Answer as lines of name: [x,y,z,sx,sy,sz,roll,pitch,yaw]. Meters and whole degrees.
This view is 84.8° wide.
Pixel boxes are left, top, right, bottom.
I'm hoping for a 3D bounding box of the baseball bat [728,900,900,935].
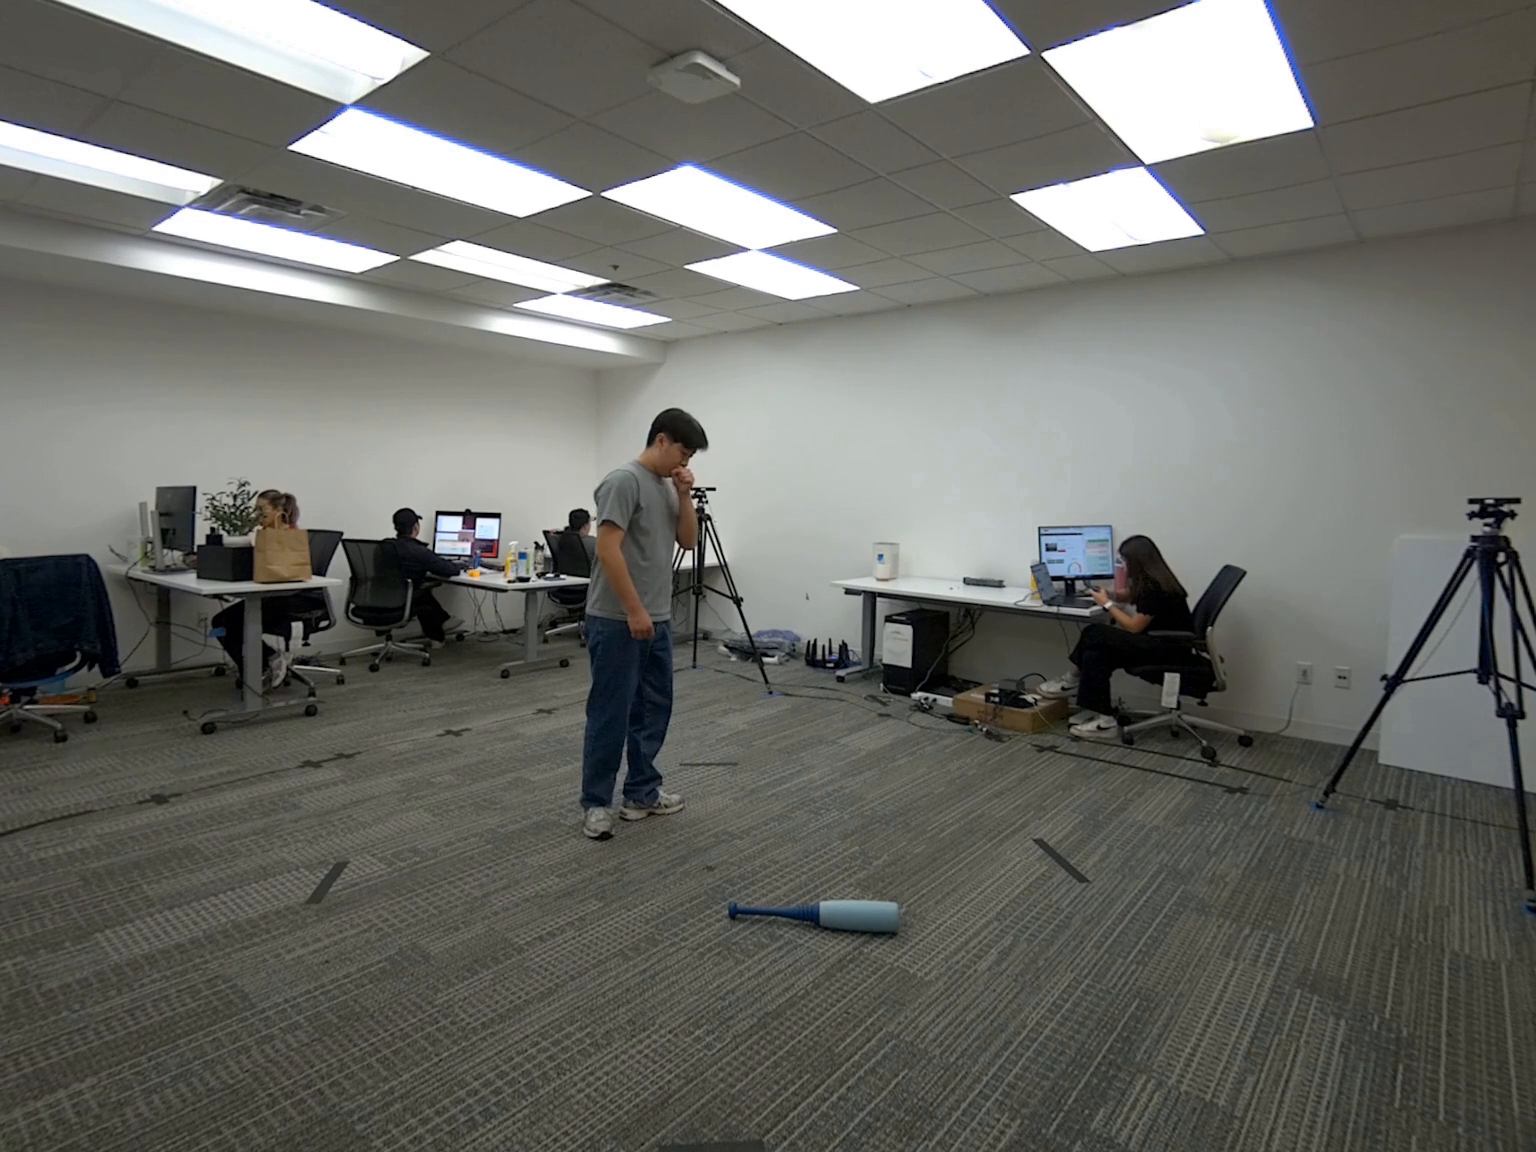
baseball bat: [0.138,1.076,2.714,0.546,0.089,0.089,-1,4,5]
